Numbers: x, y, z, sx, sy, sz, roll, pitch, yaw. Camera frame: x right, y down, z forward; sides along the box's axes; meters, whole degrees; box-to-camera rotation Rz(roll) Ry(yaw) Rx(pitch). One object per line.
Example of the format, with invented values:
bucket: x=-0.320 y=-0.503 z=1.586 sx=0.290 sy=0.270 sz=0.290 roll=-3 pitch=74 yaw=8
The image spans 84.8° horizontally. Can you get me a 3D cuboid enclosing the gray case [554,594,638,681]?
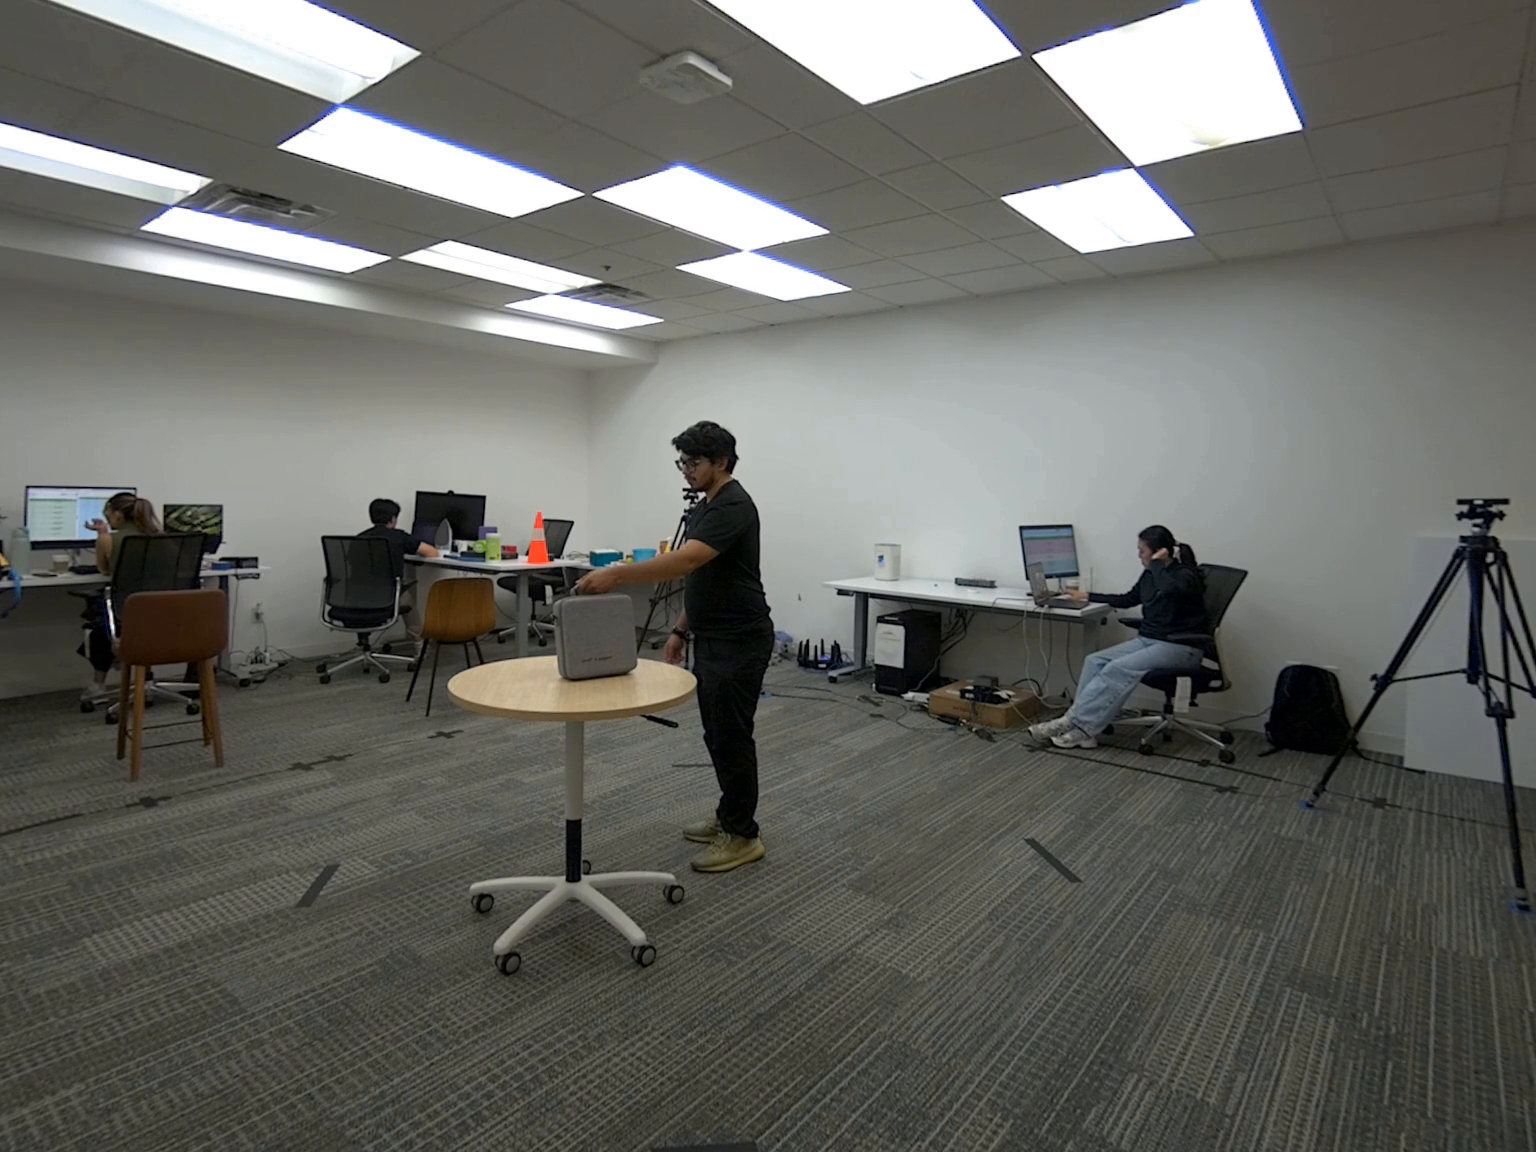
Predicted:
gray case: x=-0.566 y=0.186 z=2.735 sx=0.250 sy=0.262 sz=0.107 roll=-3 pitch=-4 yaw=-34
